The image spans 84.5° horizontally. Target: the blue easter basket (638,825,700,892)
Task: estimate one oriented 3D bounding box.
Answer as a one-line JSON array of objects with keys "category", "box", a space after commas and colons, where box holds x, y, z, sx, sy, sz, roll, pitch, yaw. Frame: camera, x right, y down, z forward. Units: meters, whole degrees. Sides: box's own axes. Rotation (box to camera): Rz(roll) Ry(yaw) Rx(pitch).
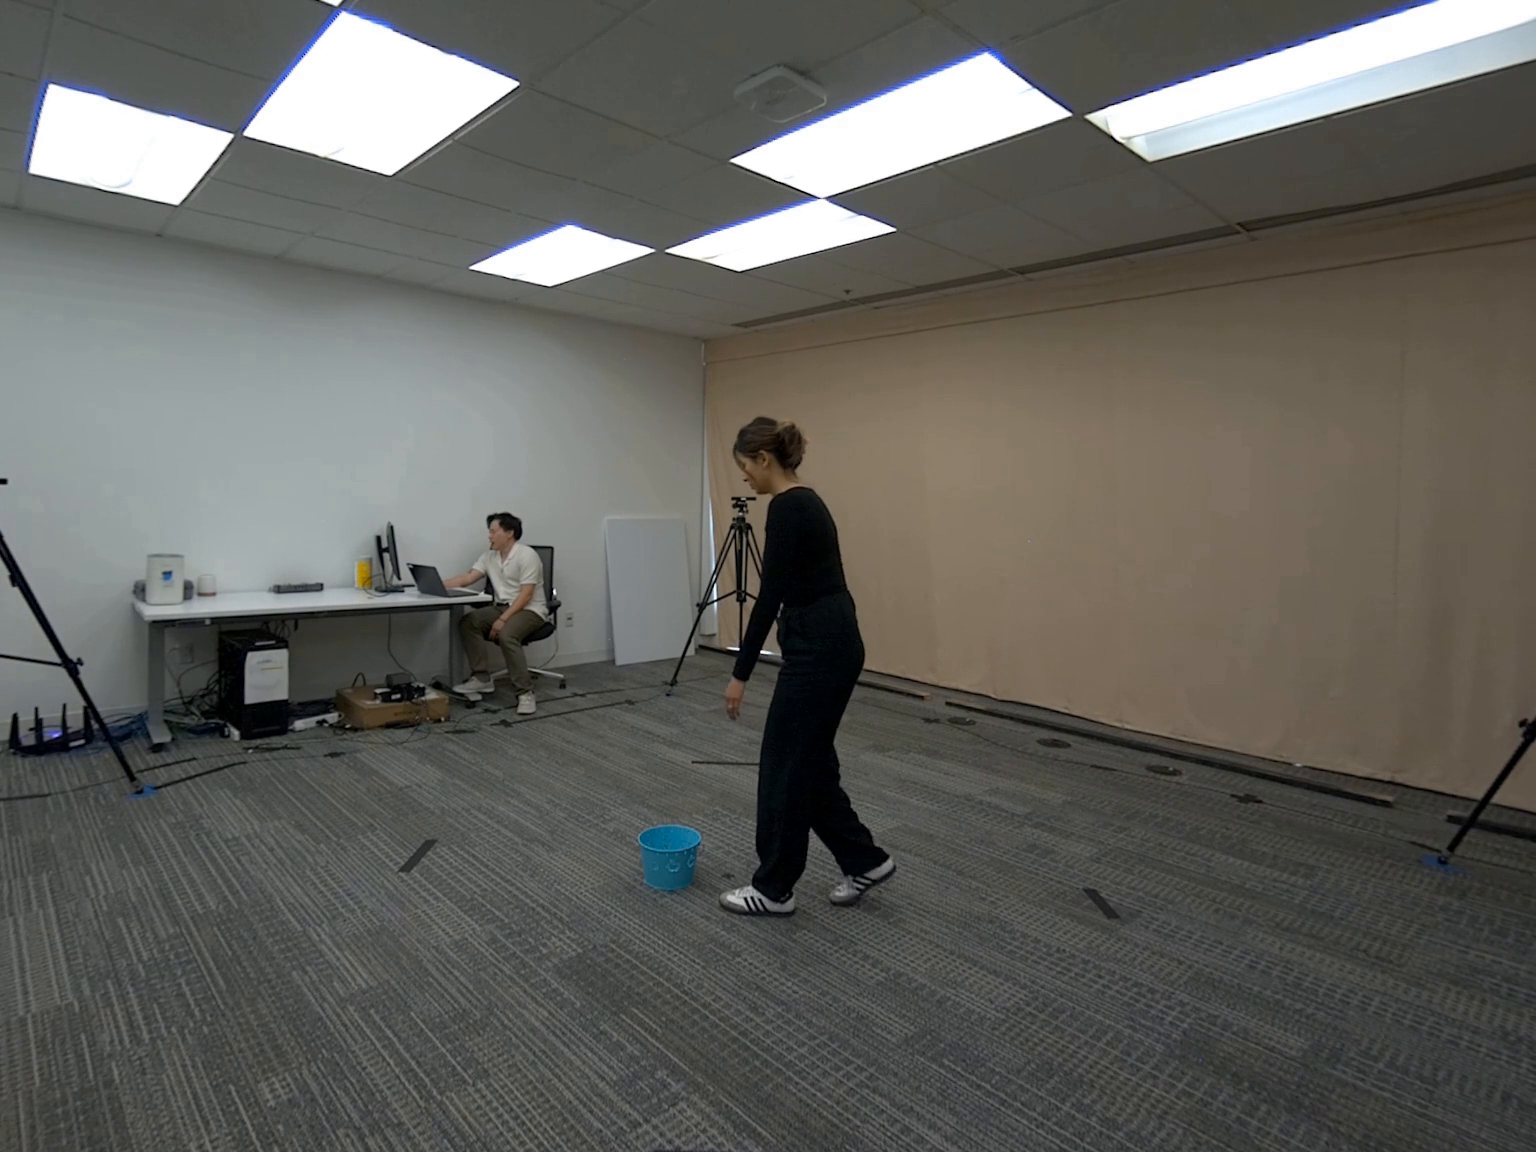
[{"category": "blue easter basket", "box": [-0.363, 1.029, 3.072, 0.243, 0.155, 0.244, 1, 5, -1]}]
